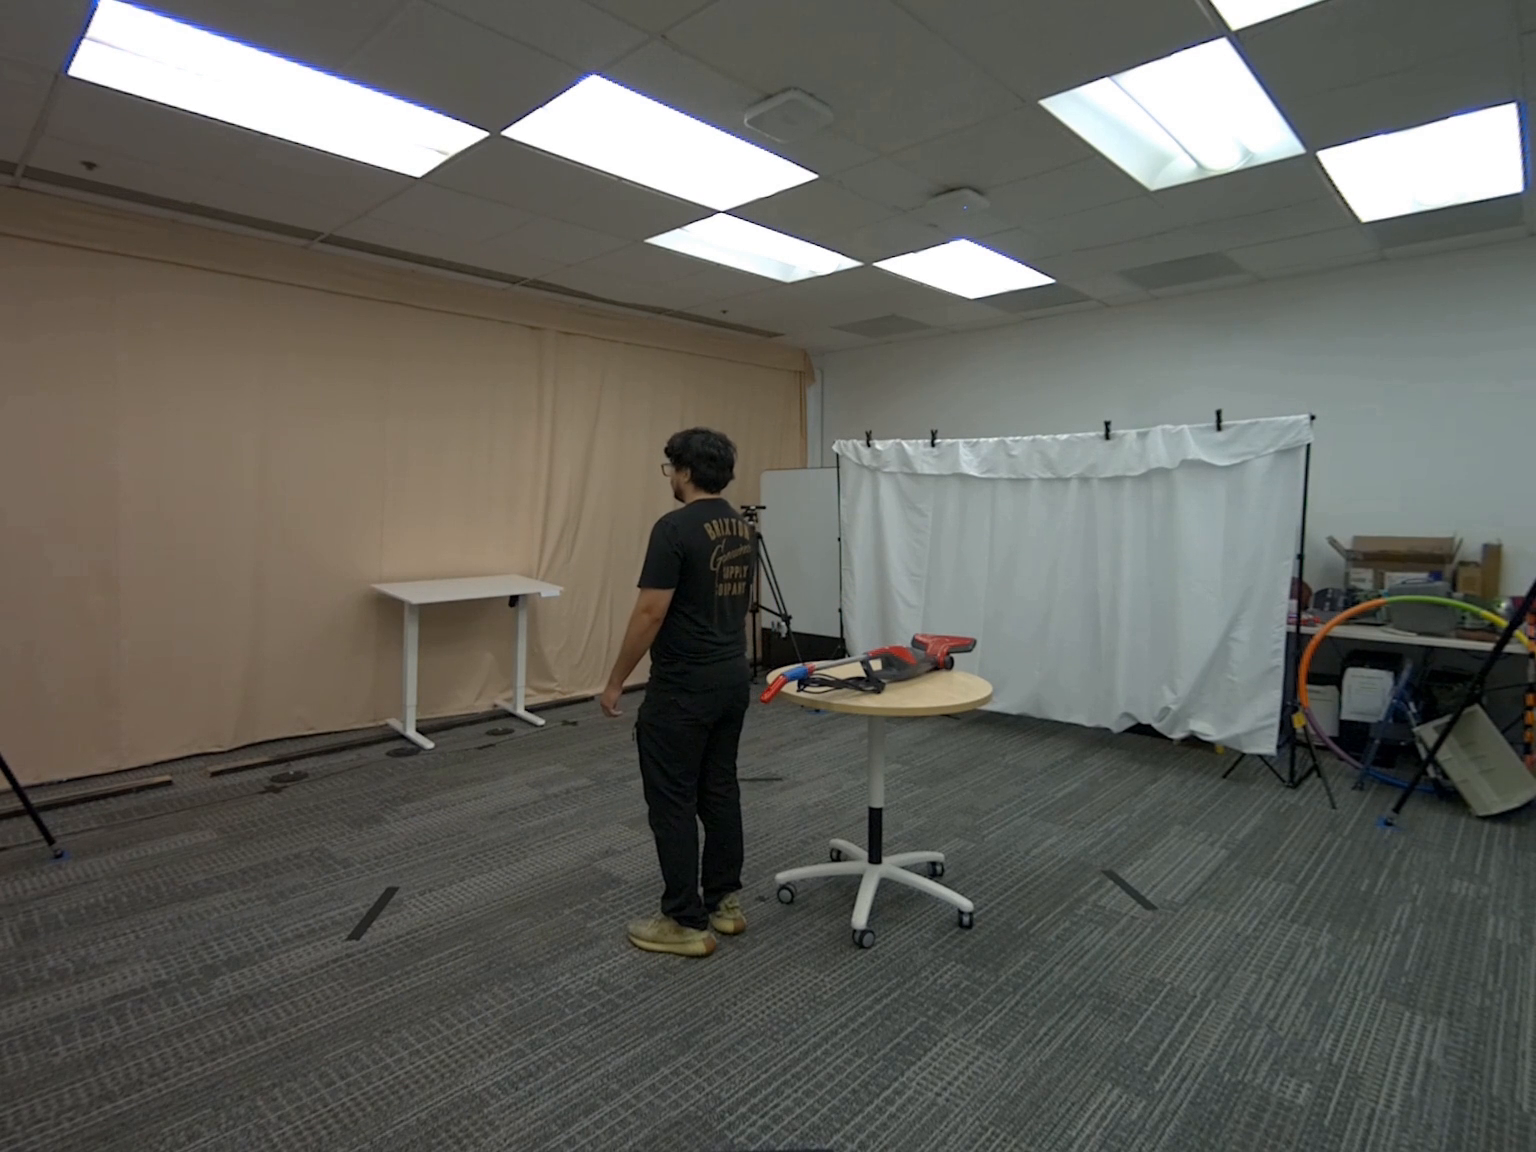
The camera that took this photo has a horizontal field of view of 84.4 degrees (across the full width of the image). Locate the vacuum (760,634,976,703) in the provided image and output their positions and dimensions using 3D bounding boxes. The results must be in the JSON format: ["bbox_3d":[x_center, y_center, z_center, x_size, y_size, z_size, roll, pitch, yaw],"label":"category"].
[{"bbox_3d":[0.344,0.330,2.765,0.260,0.144,1.016,-4,-1,44],"label":"vacuum"}]
